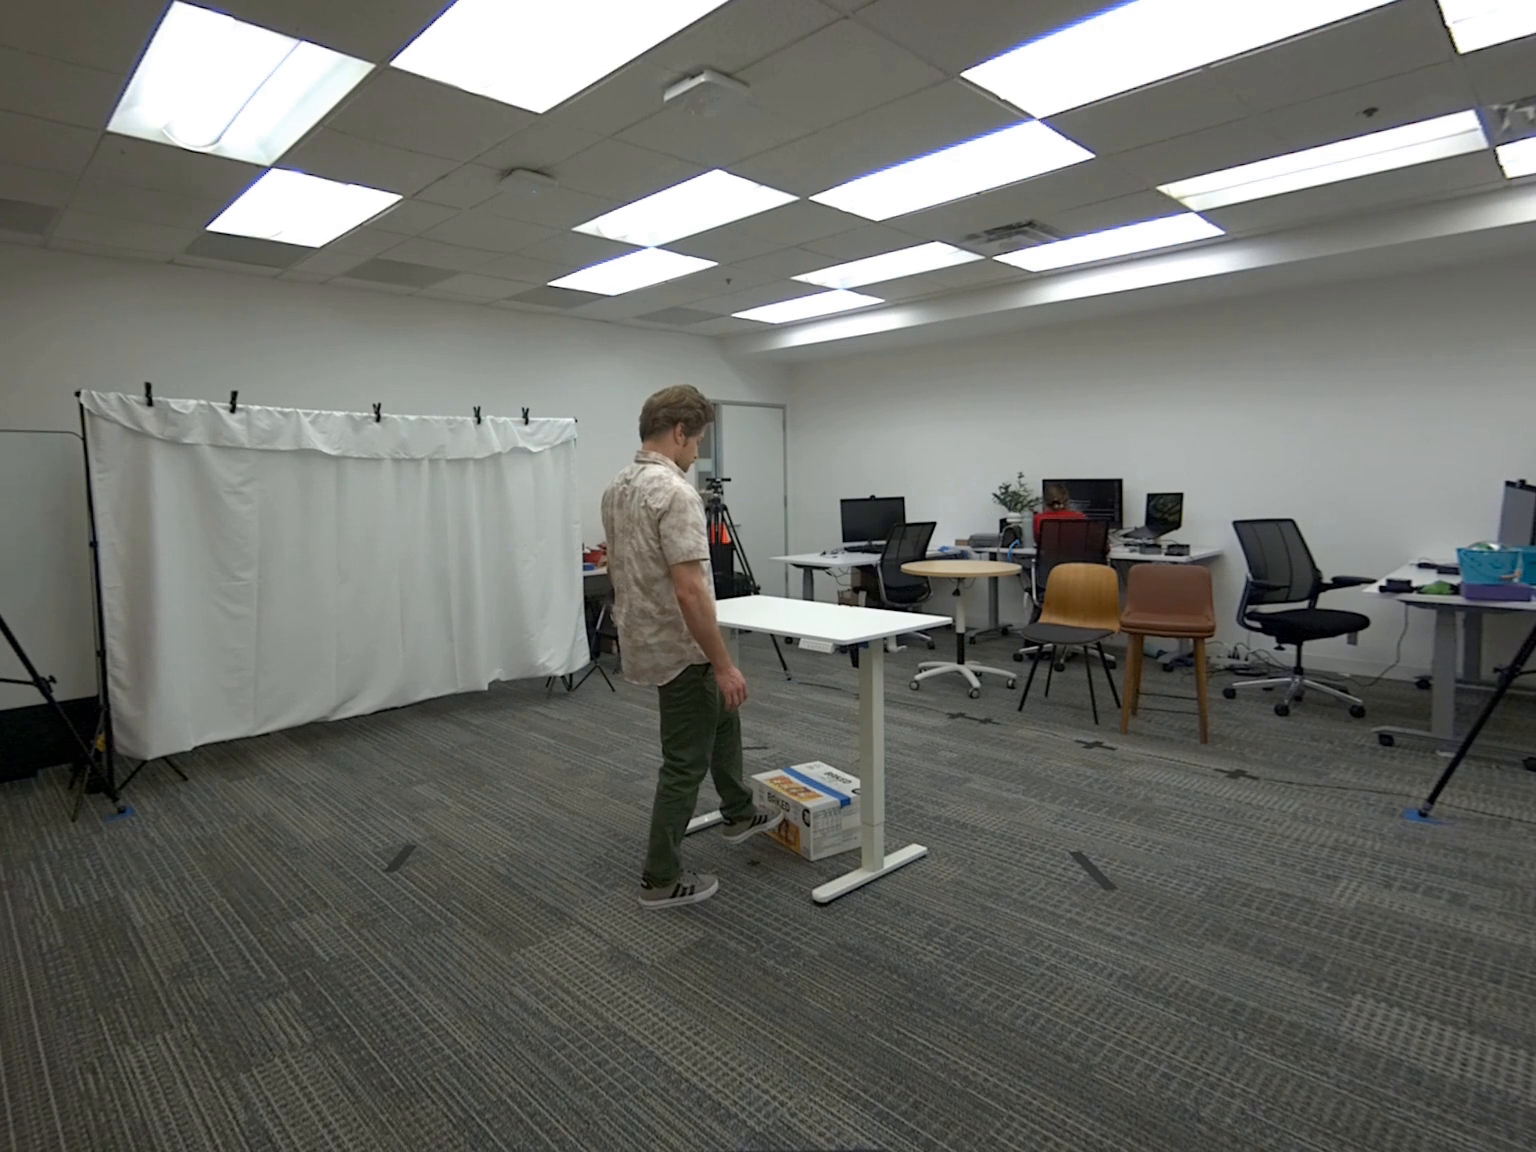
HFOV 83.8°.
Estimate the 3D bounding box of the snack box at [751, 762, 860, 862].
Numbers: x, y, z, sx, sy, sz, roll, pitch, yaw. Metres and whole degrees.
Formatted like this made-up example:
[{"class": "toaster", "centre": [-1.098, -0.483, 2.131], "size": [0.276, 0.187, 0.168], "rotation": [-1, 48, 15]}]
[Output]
[{"class": "snack box", "centre": [0.189, 0.911, 3.351], "size": [0.332, 0.205, 0.417], "rotation": [-5, 7, -32]}]
